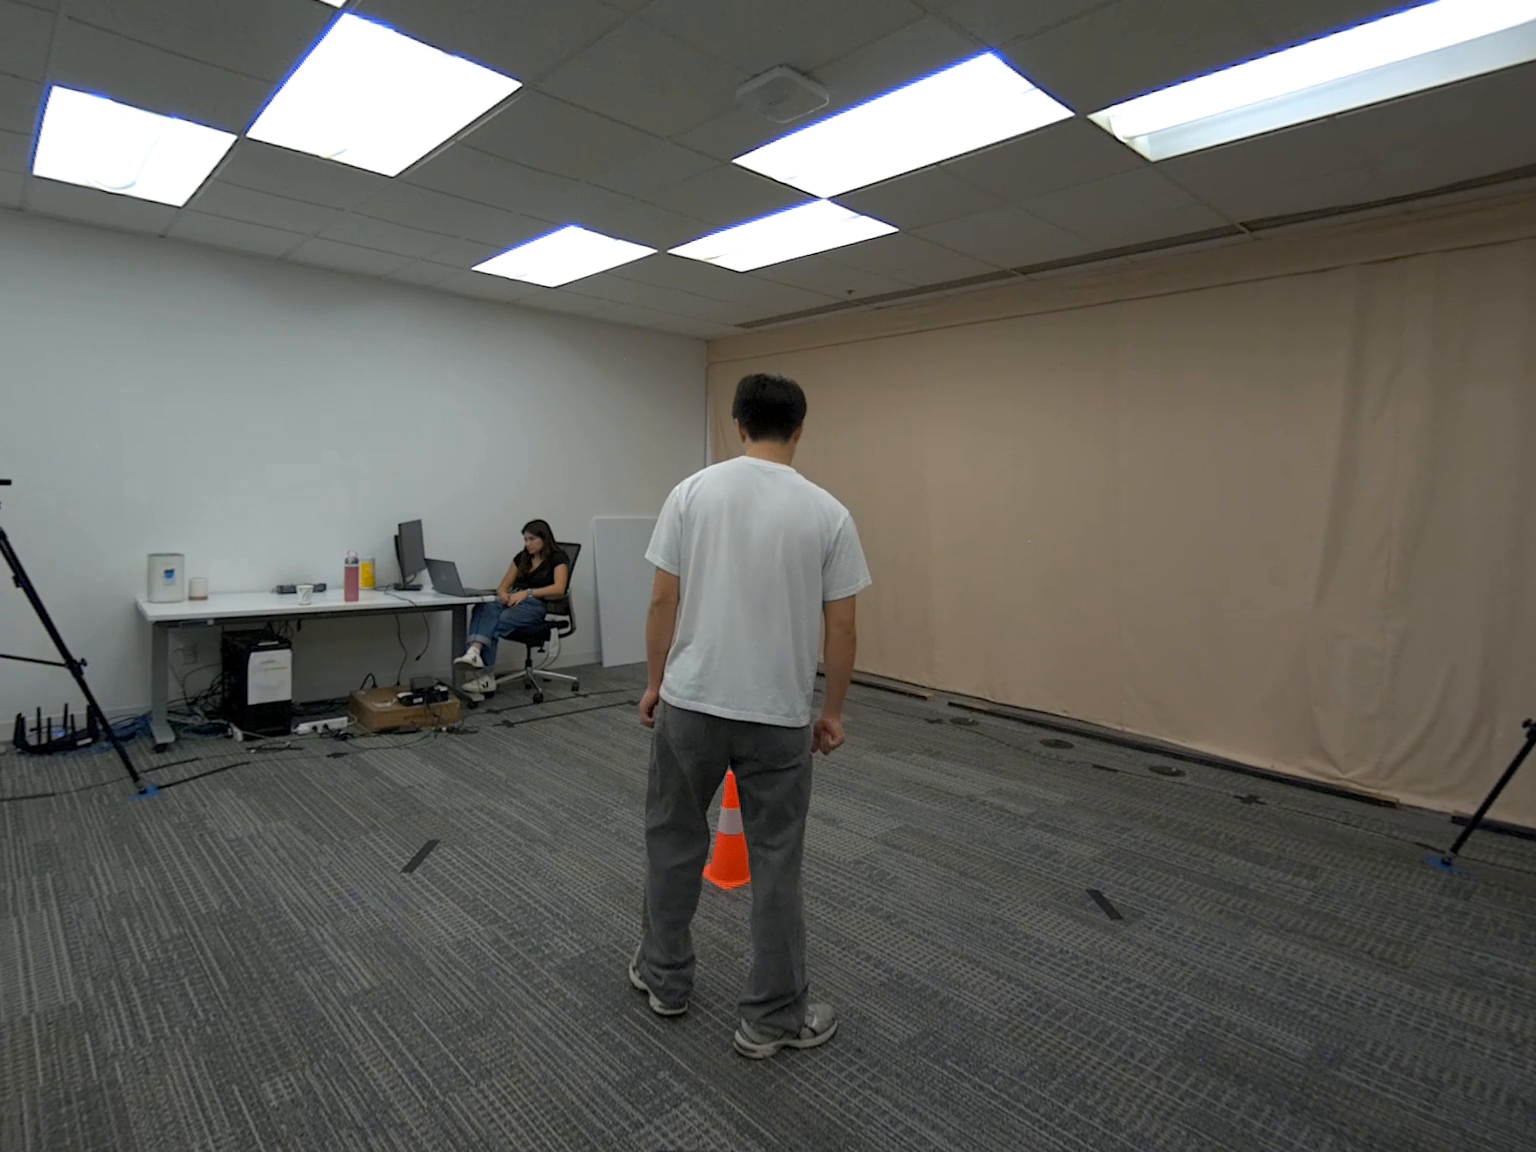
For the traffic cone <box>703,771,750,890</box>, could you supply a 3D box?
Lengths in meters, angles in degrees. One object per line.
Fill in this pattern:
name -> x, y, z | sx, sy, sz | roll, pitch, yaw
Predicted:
traffic cone -> -0.145, 0.927, 3.116 | 0.199, 0.382, 0.210 | -3, 6, -45
